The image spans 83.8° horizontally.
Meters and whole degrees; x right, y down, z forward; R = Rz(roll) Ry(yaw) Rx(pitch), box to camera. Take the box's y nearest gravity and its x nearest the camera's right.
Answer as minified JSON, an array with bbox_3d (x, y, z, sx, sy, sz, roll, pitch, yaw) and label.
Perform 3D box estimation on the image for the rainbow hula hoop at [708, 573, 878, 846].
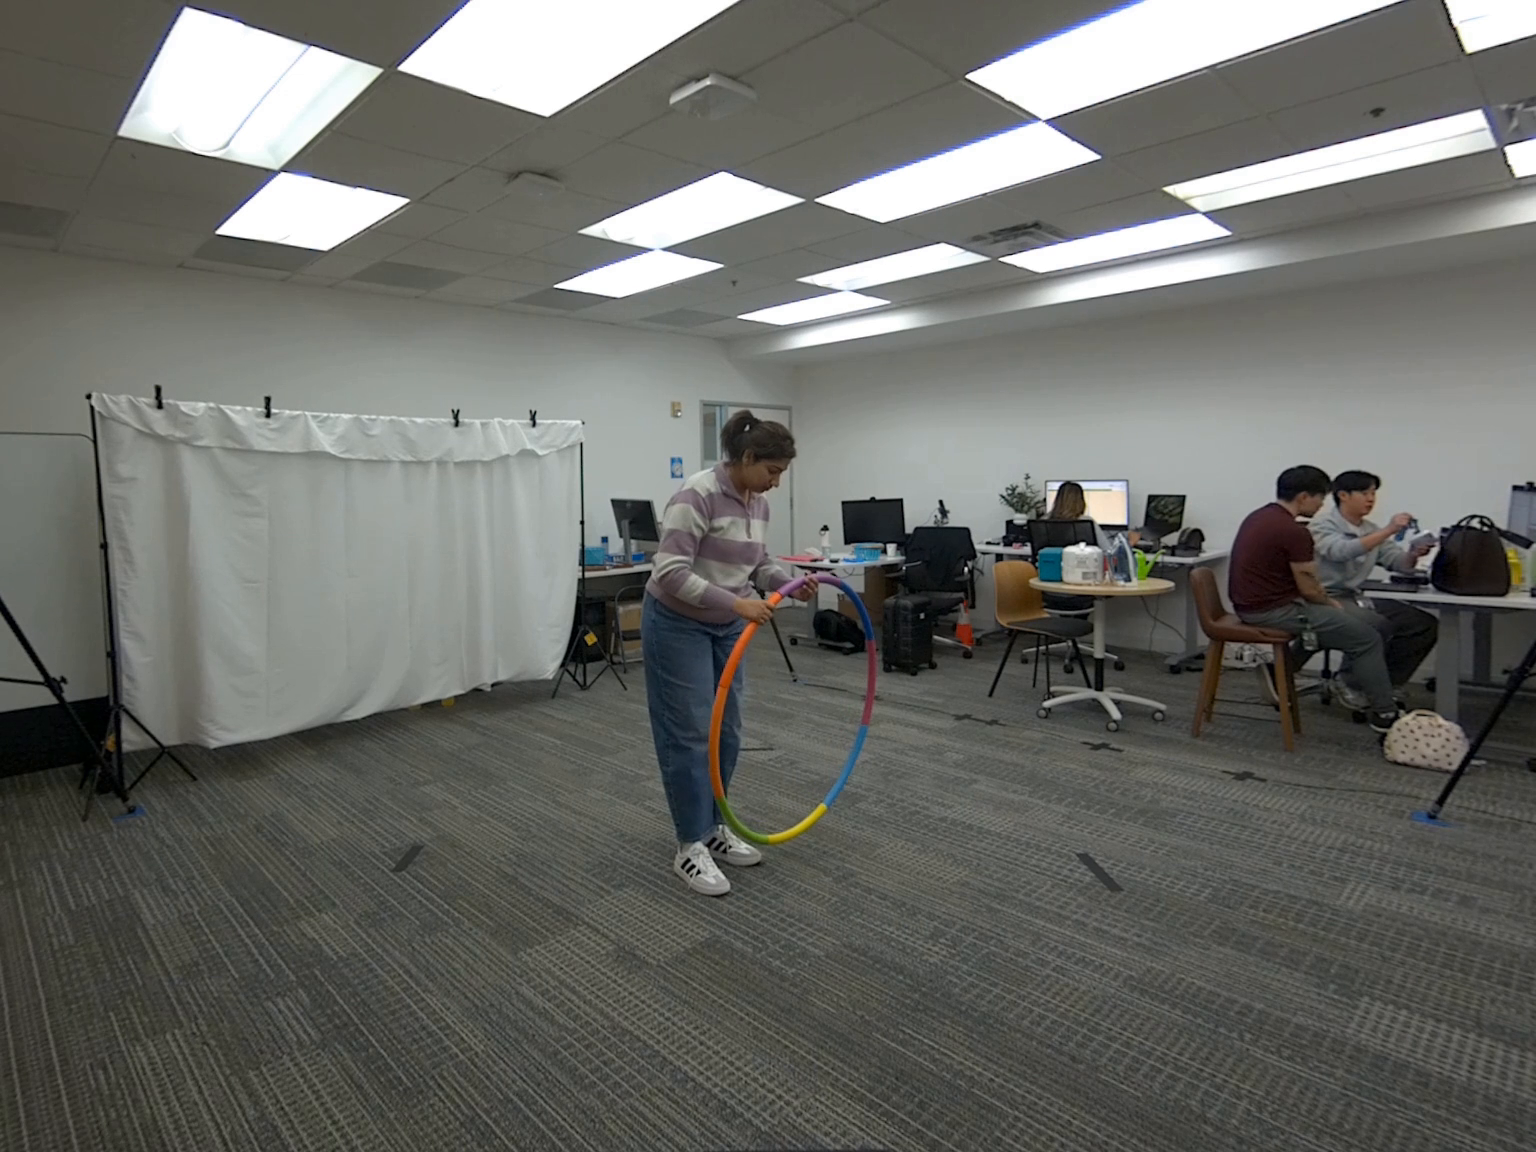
[{"bbox_3d":[0.133,0.486,3.093,0.053,0.979,0.960,10,11,38],"label":"rainbow hula hoop"}]
